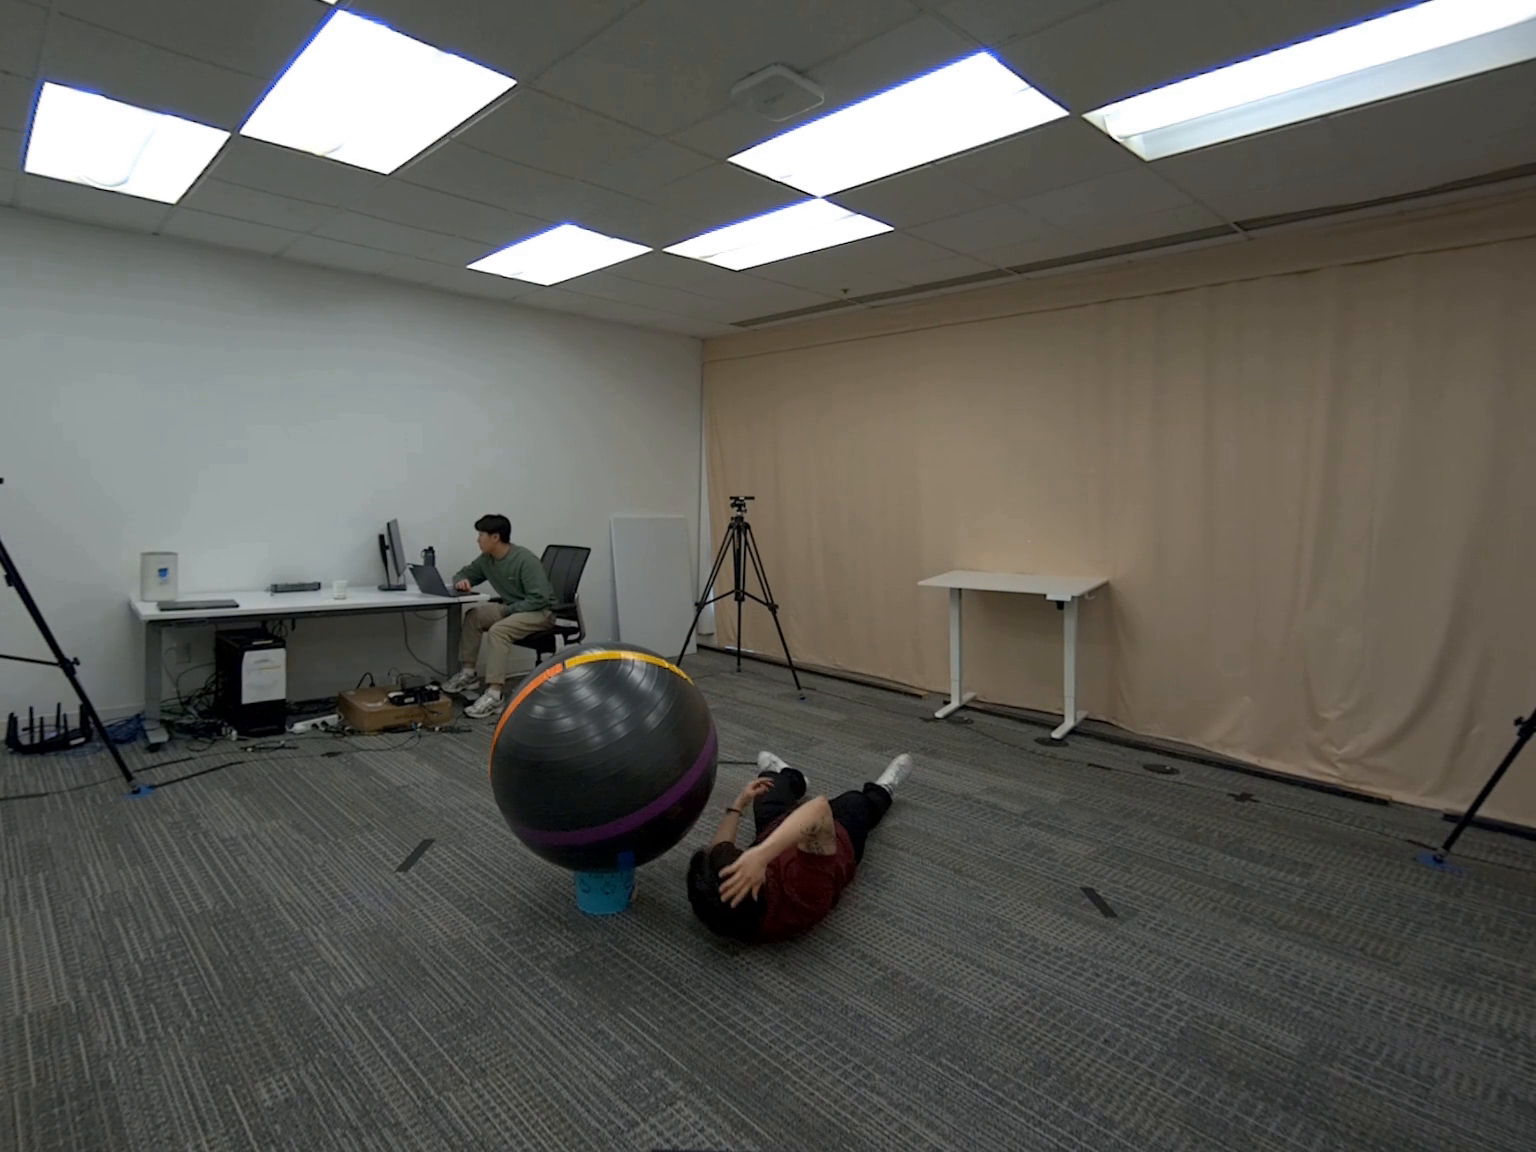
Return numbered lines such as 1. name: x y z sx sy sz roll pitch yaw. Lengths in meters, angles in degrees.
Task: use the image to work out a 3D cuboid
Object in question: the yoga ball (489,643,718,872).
1. yoga ball: -0.558 0.609 2.844 0.757 0.756 0.761 1 4 -1
